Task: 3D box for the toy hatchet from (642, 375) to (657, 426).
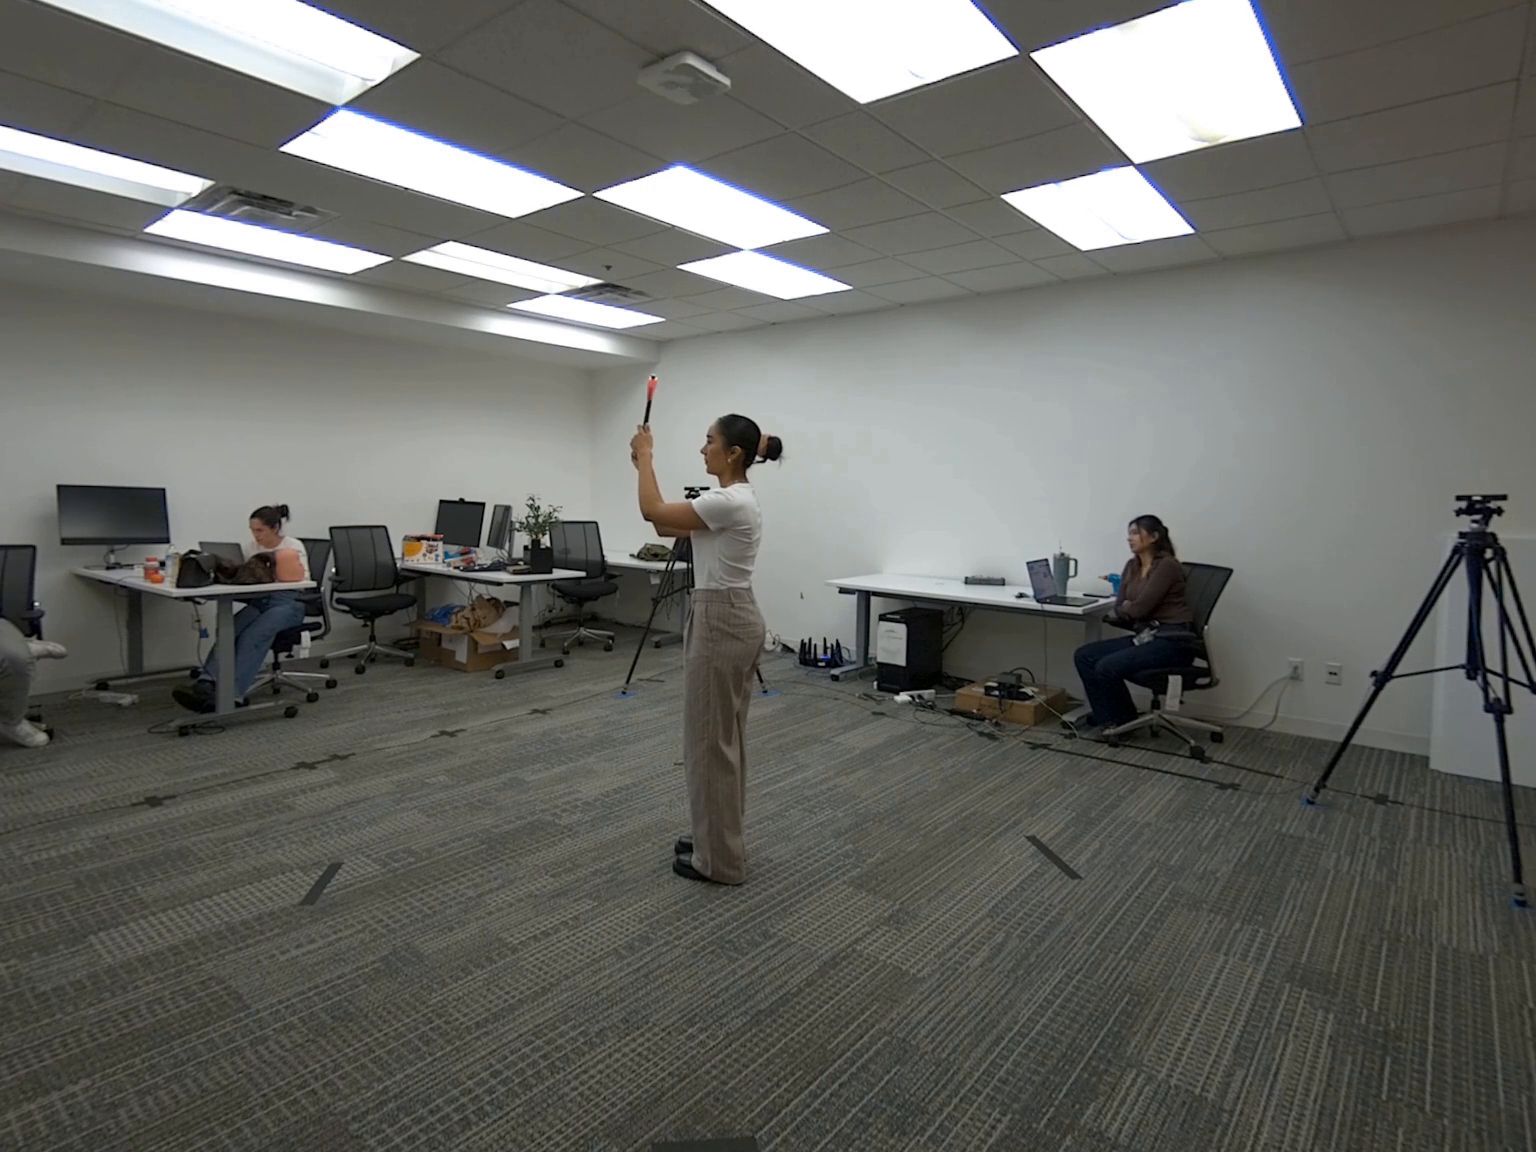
[{"bbox_3d":[-0.449,-0.607,3.106,0.029,0.269,0.133,8,5,-12],"label":"toy hatchet"}]
